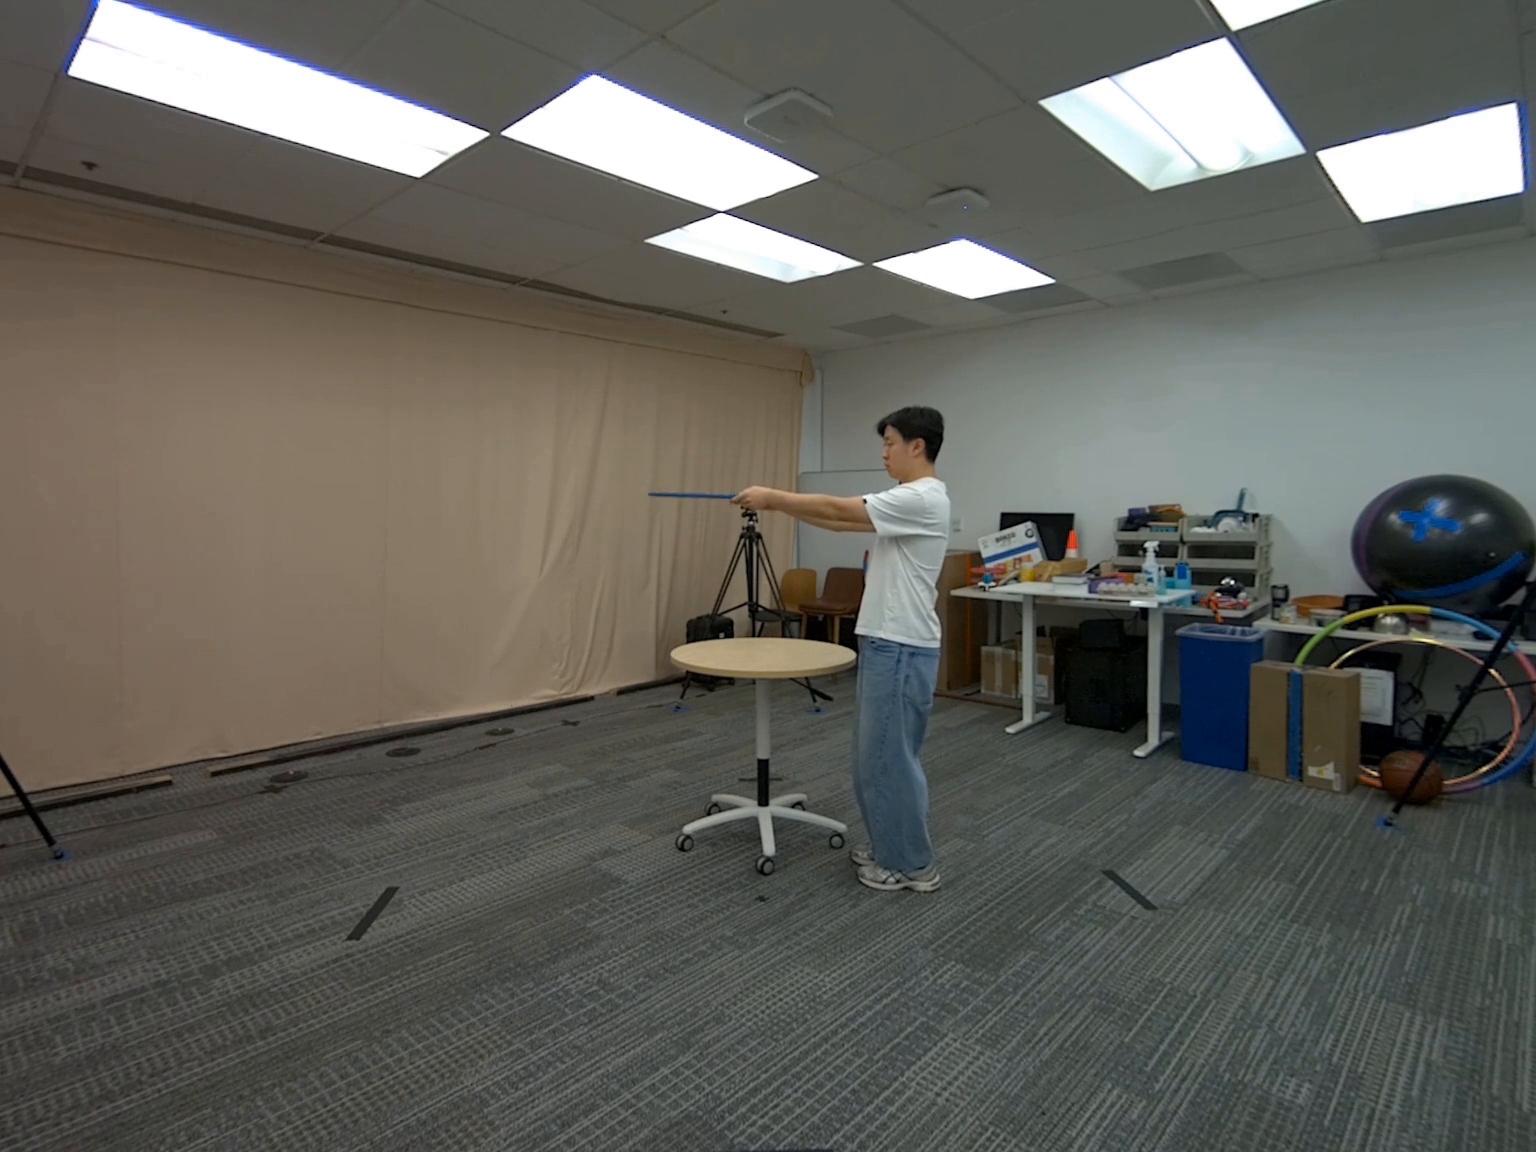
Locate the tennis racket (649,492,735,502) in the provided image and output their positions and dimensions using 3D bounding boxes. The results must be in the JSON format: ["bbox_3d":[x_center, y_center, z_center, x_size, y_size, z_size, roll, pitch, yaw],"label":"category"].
[{"bbox_3d":[-0.214,-0.296,3.124,0.426,0.032,0.217,-2,2,-14],"label":"tennis racket"}]
